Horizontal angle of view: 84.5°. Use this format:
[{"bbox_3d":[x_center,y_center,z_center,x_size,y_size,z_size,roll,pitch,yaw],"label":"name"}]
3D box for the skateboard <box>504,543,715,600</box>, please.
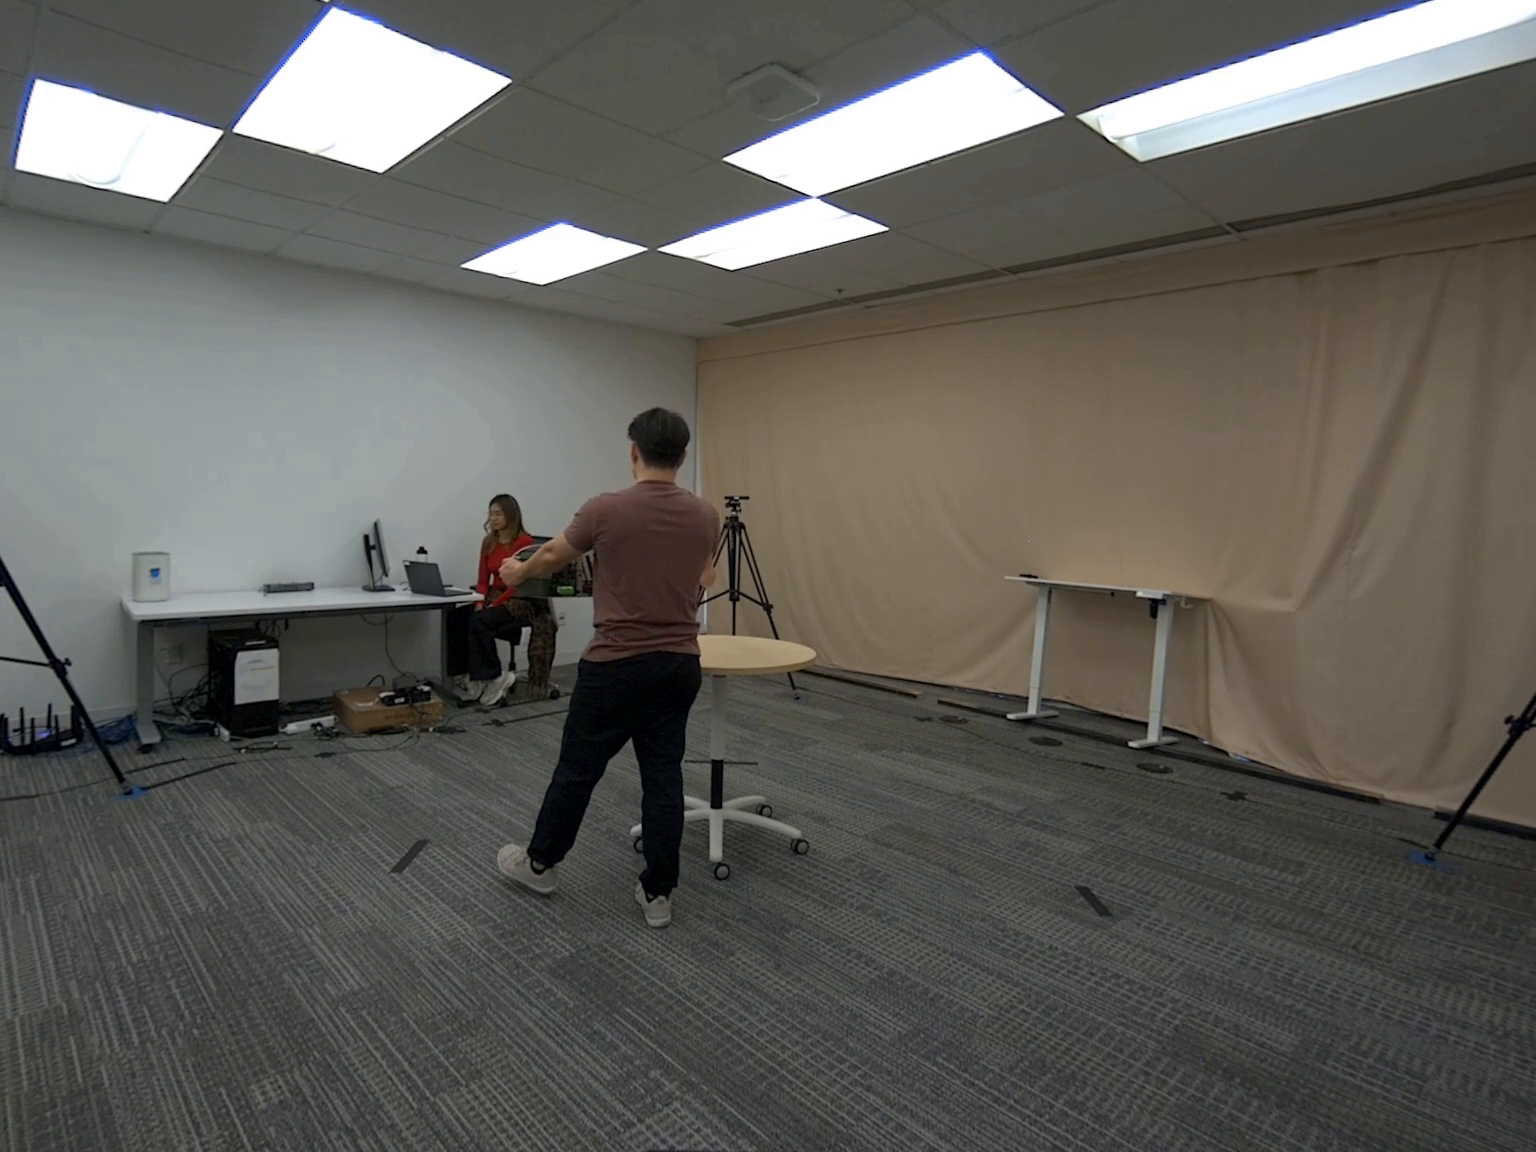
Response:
[{"bbox_3d":[-0.577,-0.016,3.160,0.769,0.194,0.112,0,-2,-29],"label":"skateboard"}]
